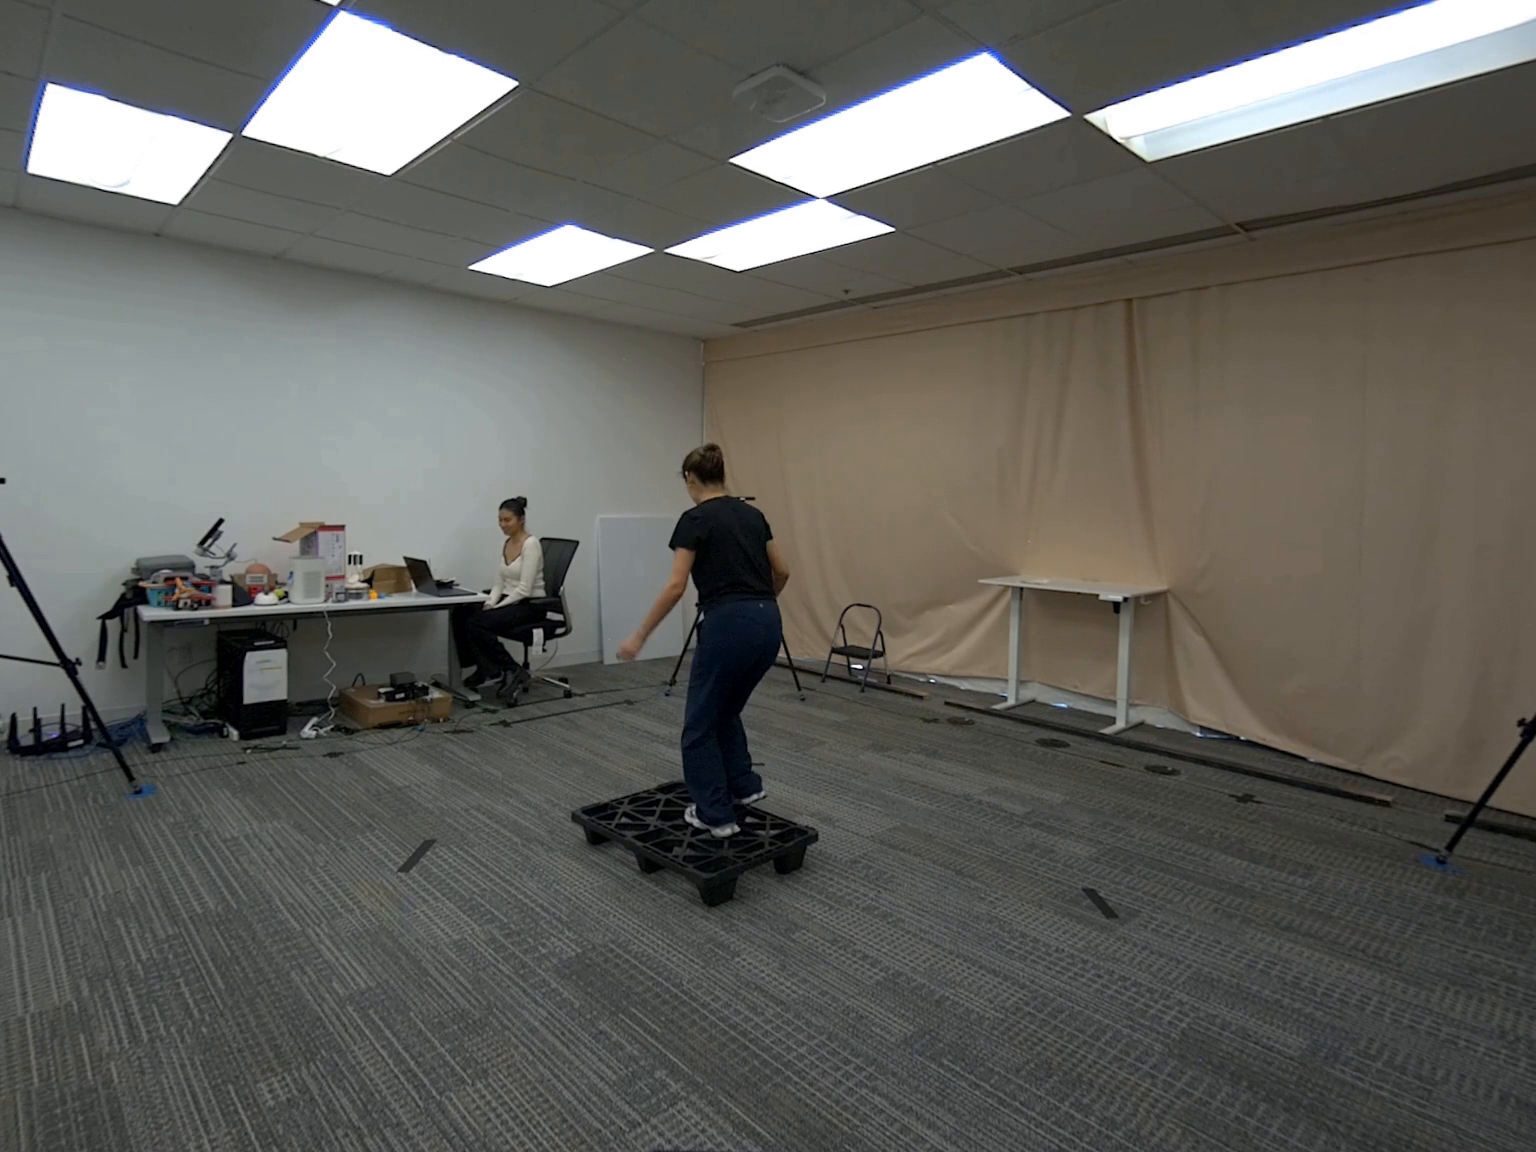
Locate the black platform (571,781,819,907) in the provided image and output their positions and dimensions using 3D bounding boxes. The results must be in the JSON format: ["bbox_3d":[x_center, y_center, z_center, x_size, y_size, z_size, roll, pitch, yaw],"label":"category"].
[{"bbox_3d":[-0.298,1.022,3.271,0.826,0.143,0.591,7,7,44],"label":"black platform"}]
